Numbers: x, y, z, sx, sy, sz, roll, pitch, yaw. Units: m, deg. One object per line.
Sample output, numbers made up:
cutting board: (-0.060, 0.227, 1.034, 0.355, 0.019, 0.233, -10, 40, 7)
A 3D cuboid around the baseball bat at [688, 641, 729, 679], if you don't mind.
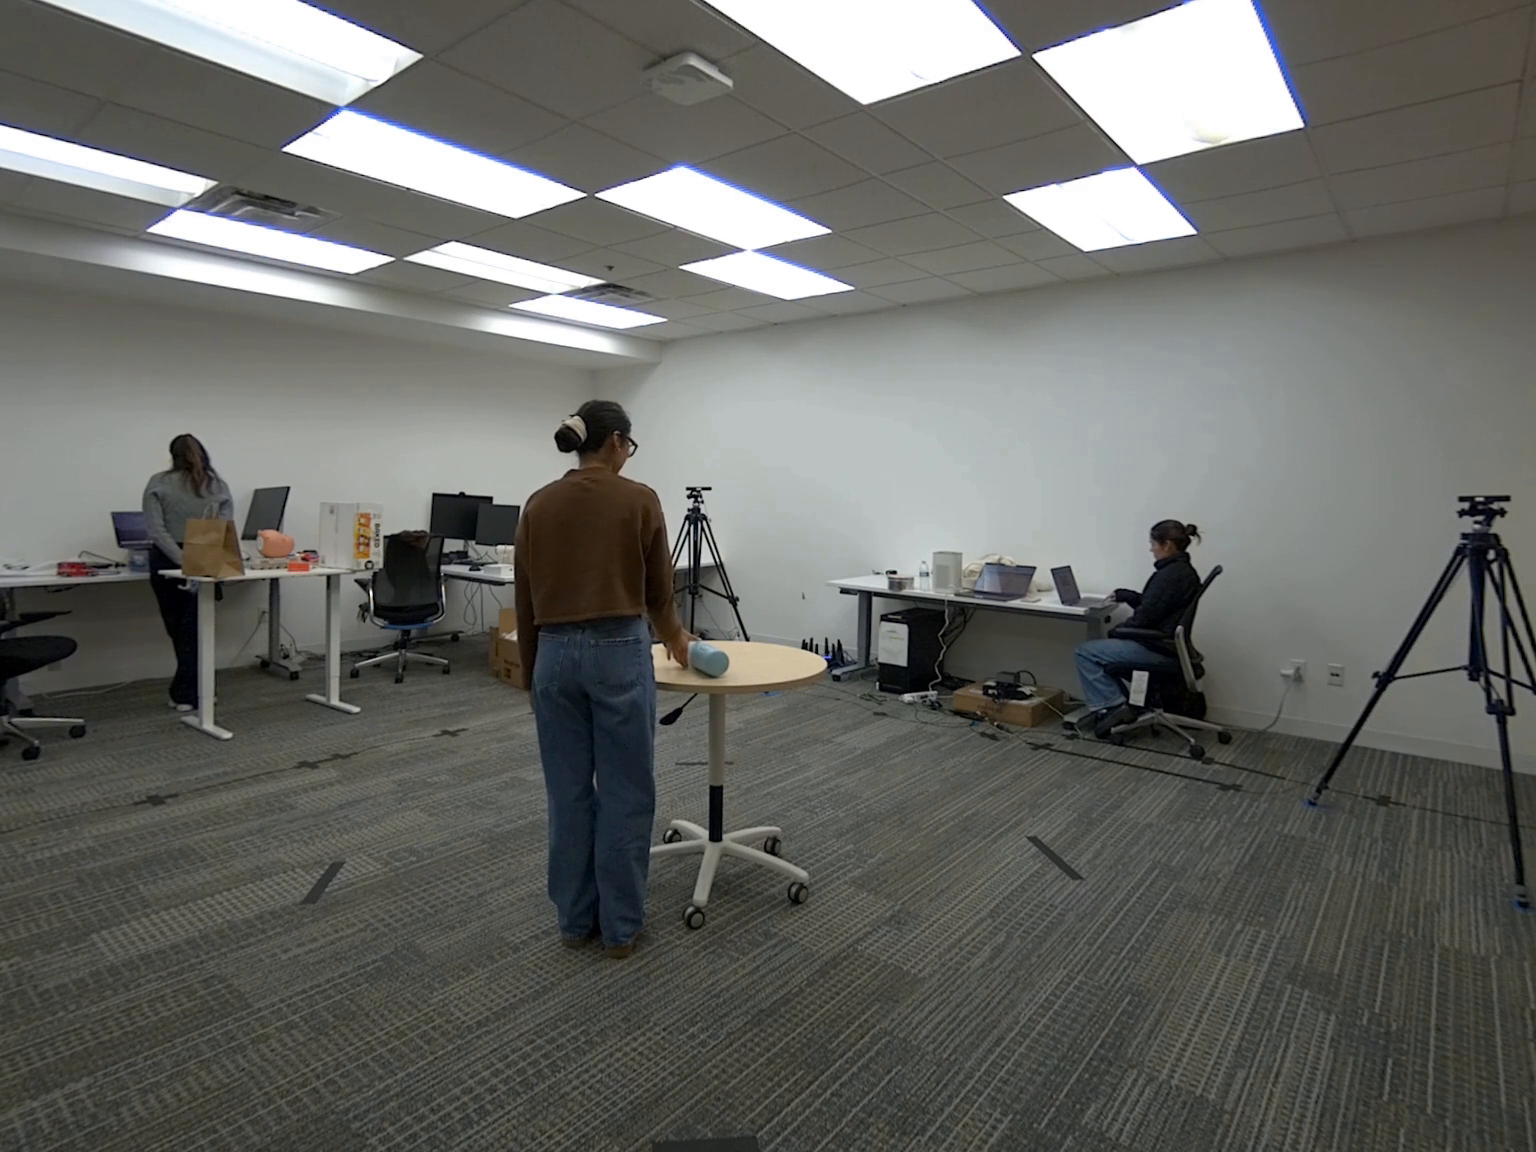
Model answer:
baseball bat: (-0.277, 0.262, 2.947, 0.087, 0.089, 0.556, -1, 3, -24)
